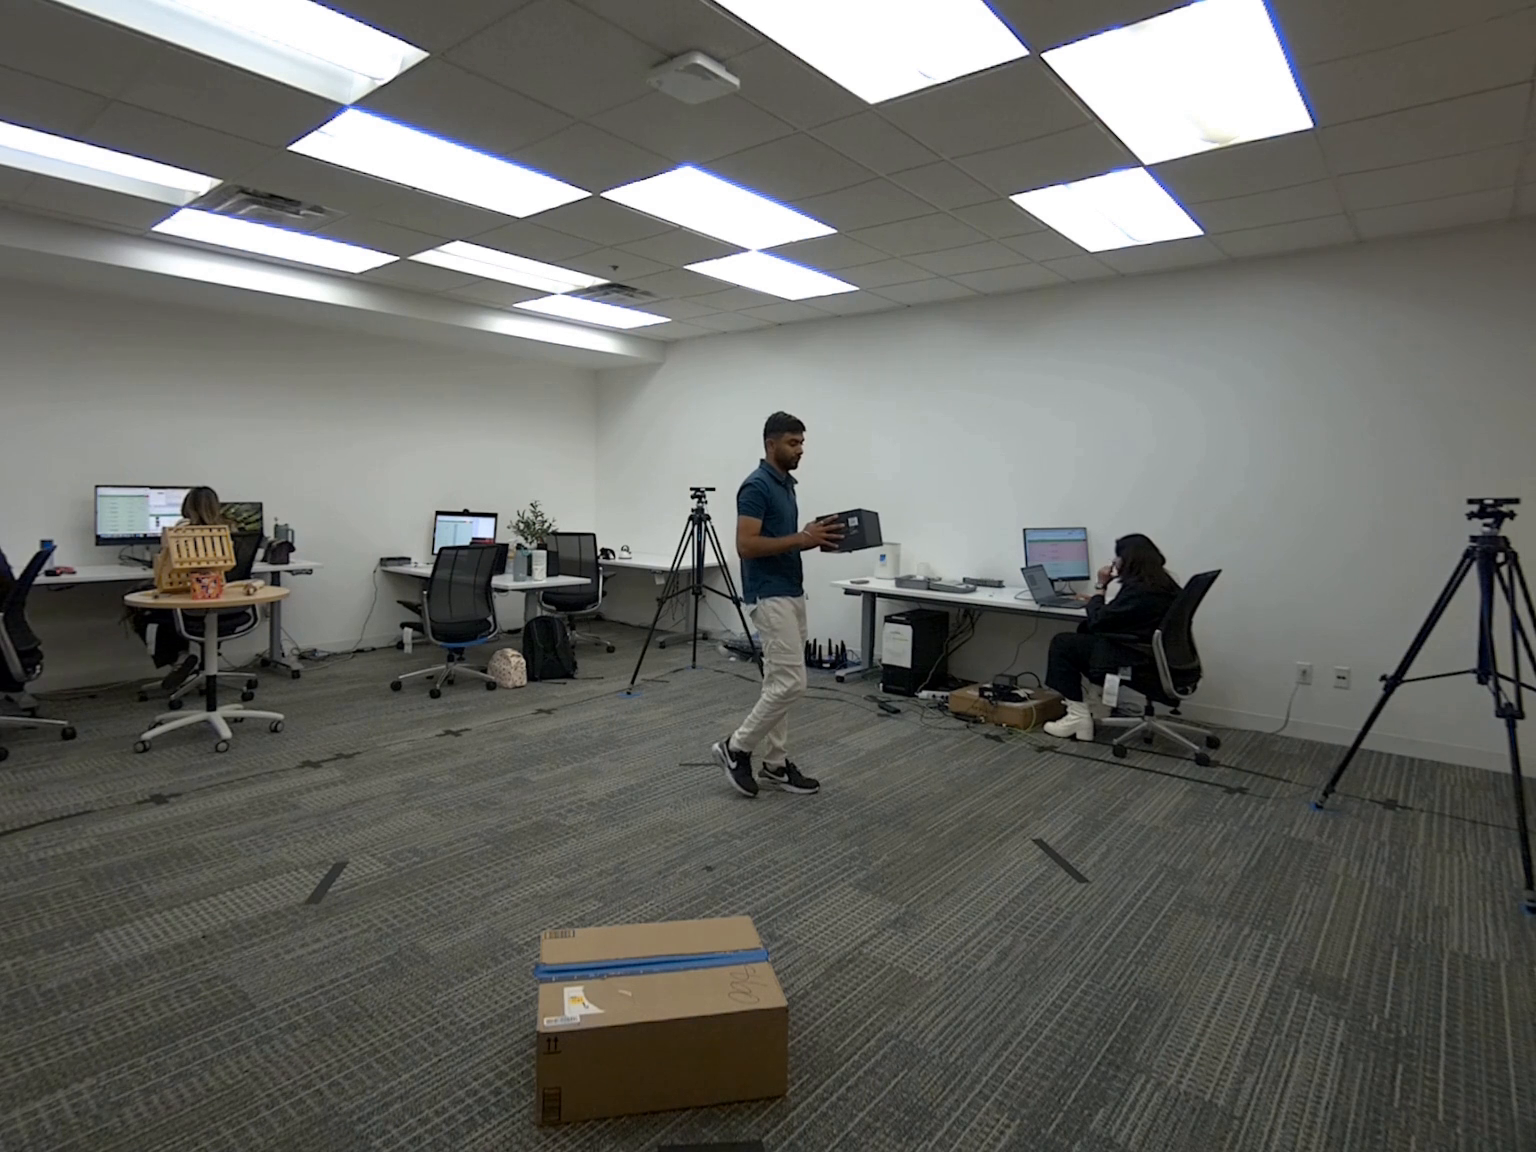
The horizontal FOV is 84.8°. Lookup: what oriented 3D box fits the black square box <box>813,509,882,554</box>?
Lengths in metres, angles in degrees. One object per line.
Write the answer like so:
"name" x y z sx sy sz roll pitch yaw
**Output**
"black square box" 0.355 -0.198 3.761 0.221 0.157 0.221 -9 -5 26
